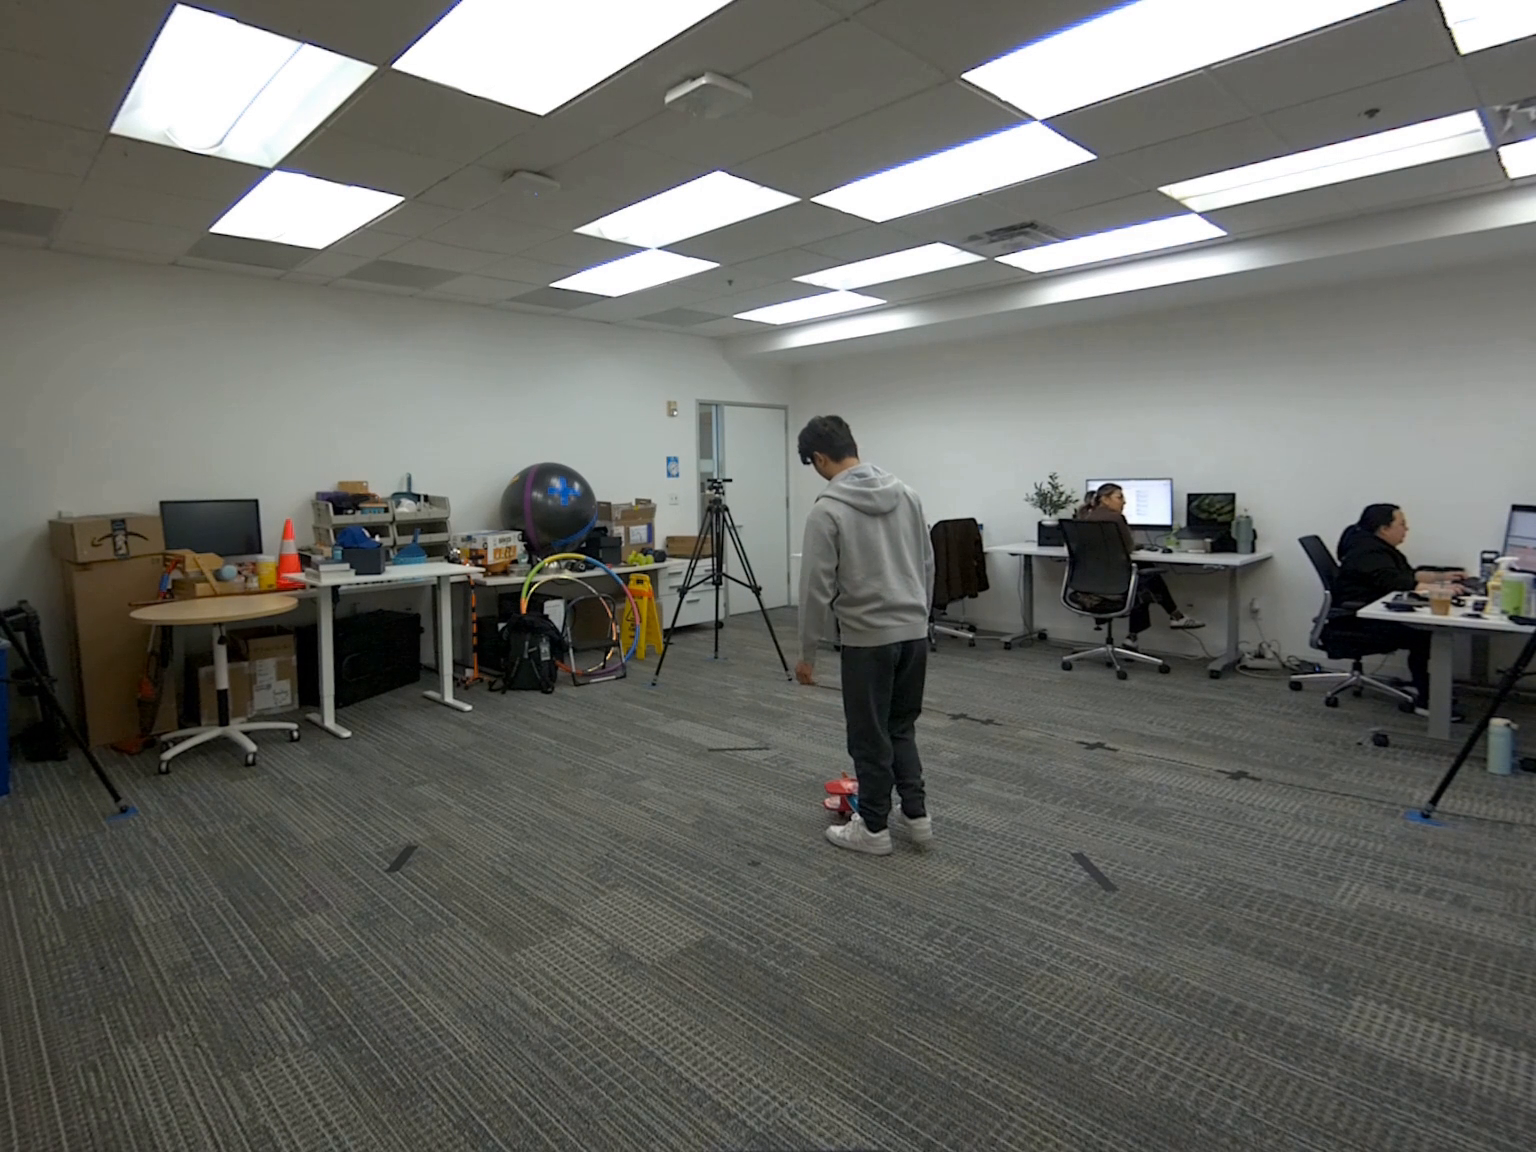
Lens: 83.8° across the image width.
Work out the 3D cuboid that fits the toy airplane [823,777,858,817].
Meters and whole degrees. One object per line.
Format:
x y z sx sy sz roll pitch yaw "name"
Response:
0.389 0.926 3.479 0.244 0.156 0.267 -3 5 -36 "toy airplane"
